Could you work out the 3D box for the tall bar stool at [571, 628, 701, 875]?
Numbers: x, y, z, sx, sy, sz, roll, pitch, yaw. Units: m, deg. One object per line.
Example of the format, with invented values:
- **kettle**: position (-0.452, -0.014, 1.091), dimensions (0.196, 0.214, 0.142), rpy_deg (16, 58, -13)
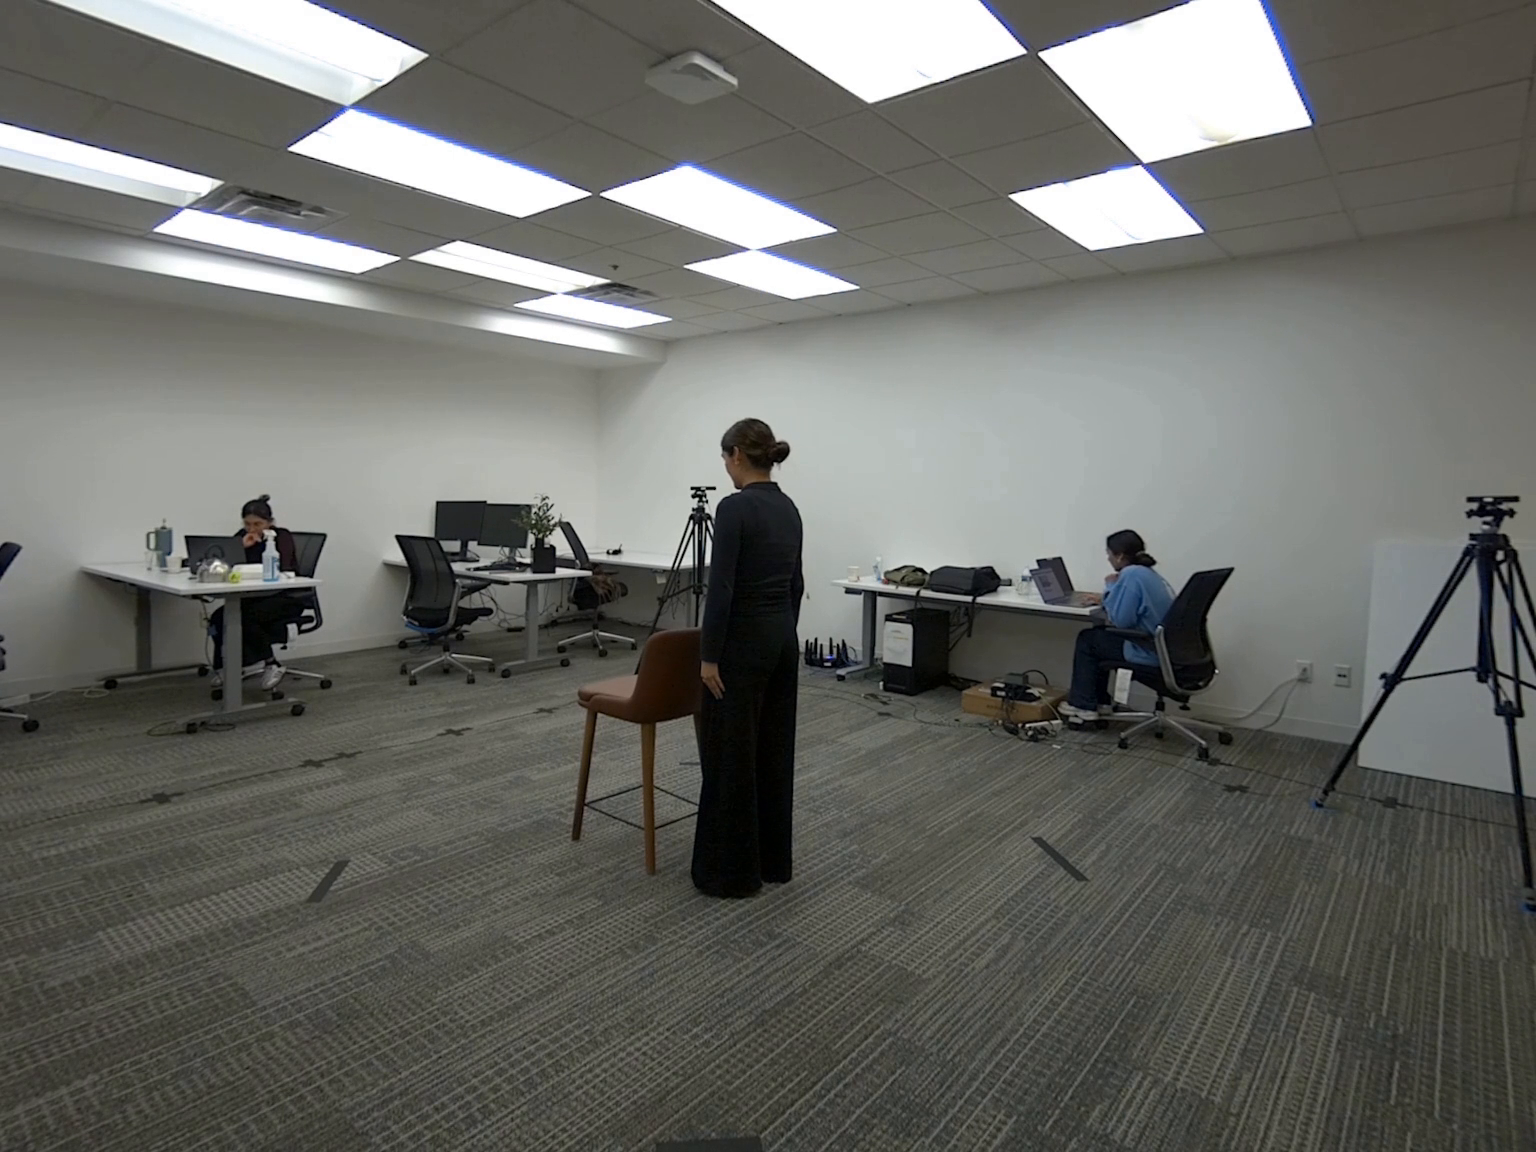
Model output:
- **tall bar stool**: position (-0.470, 0.605, 3.305), dimensions (0.484, 0.886, 0.442), rpy_deg (7, 6, 42)
